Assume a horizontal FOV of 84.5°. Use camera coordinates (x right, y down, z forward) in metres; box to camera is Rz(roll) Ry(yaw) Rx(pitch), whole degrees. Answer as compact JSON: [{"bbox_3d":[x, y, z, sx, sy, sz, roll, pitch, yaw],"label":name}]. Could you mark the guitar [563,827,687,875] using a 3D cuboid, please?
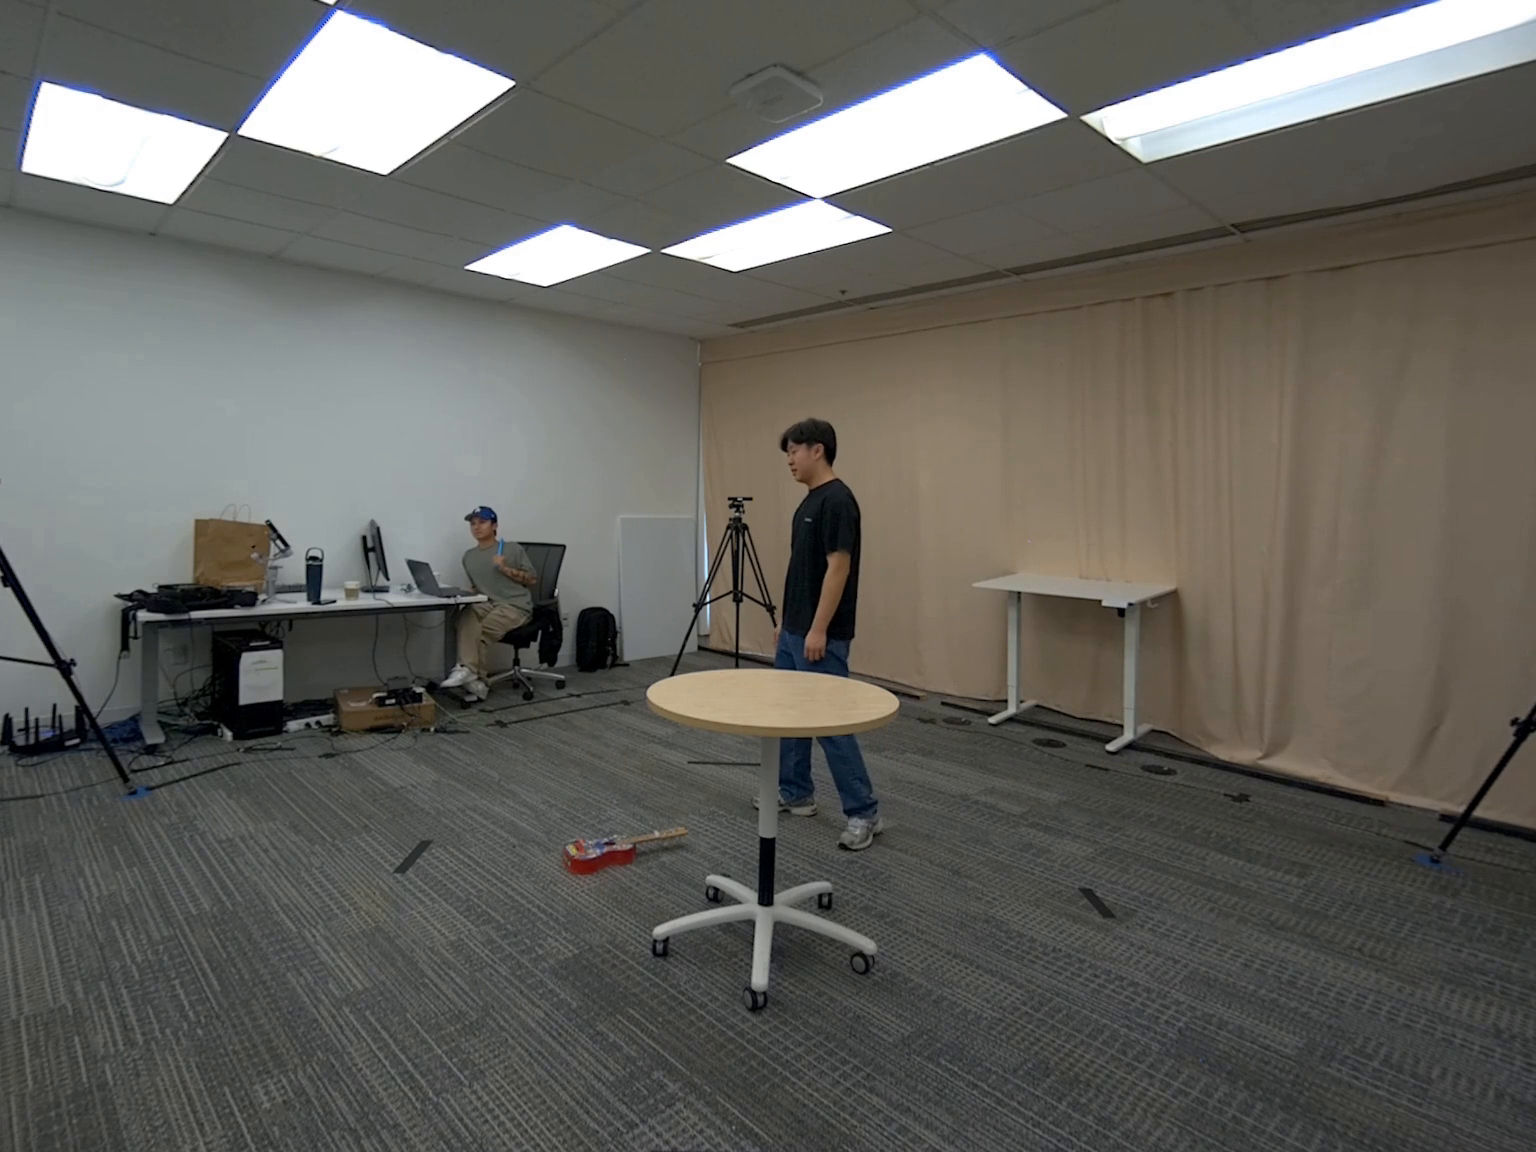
[{"bbox_3d":[-0.540,1.053,3.232,0.491,0.070,0.196,-1,5,-18],"label":"guitar"}]
